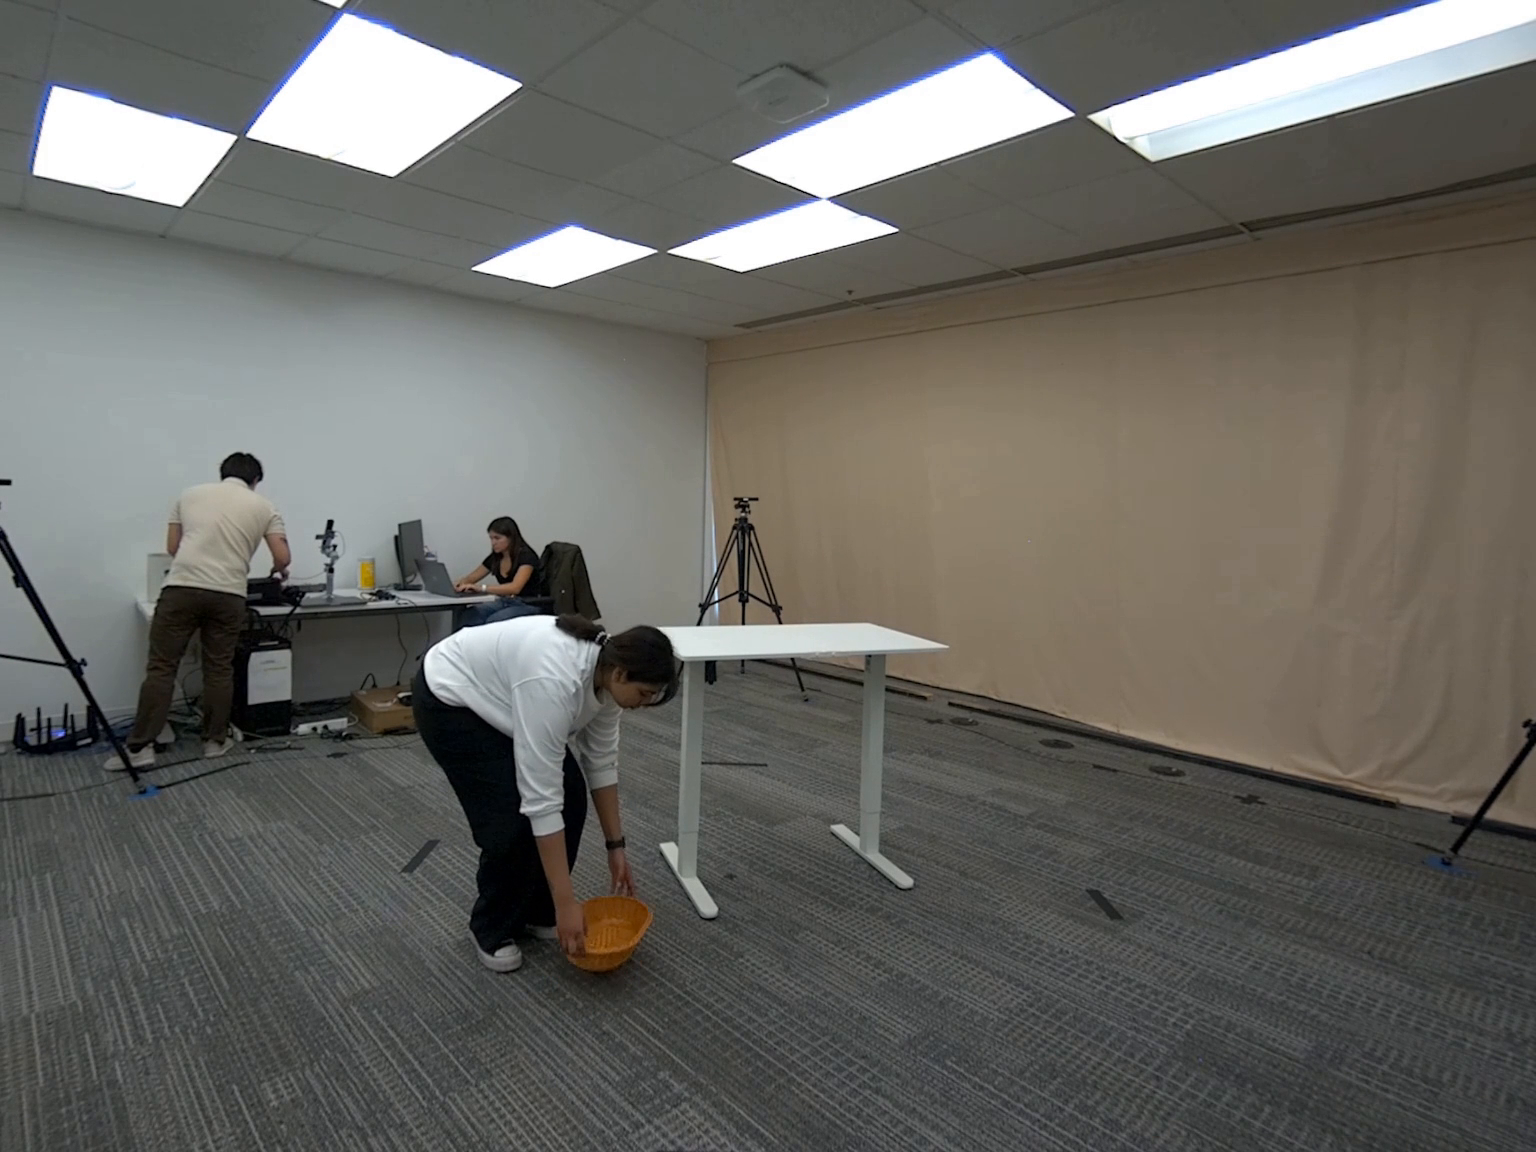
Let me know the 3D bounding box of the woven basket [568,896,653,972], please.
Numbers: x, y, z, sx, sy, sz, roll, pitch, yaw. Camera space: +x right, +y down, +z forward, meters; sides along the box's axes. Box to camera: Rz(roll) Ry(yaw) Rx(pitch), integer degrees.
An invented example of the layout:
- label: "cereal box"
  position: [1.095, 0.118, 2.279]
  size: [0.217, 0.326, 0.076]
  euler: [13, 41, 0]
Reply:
- label: "woven basket"
  position: [-0.493, 1.049, 2.452]
  size: [0.256, 0.073, 0.347]
  euler: [5, 5, 15]
